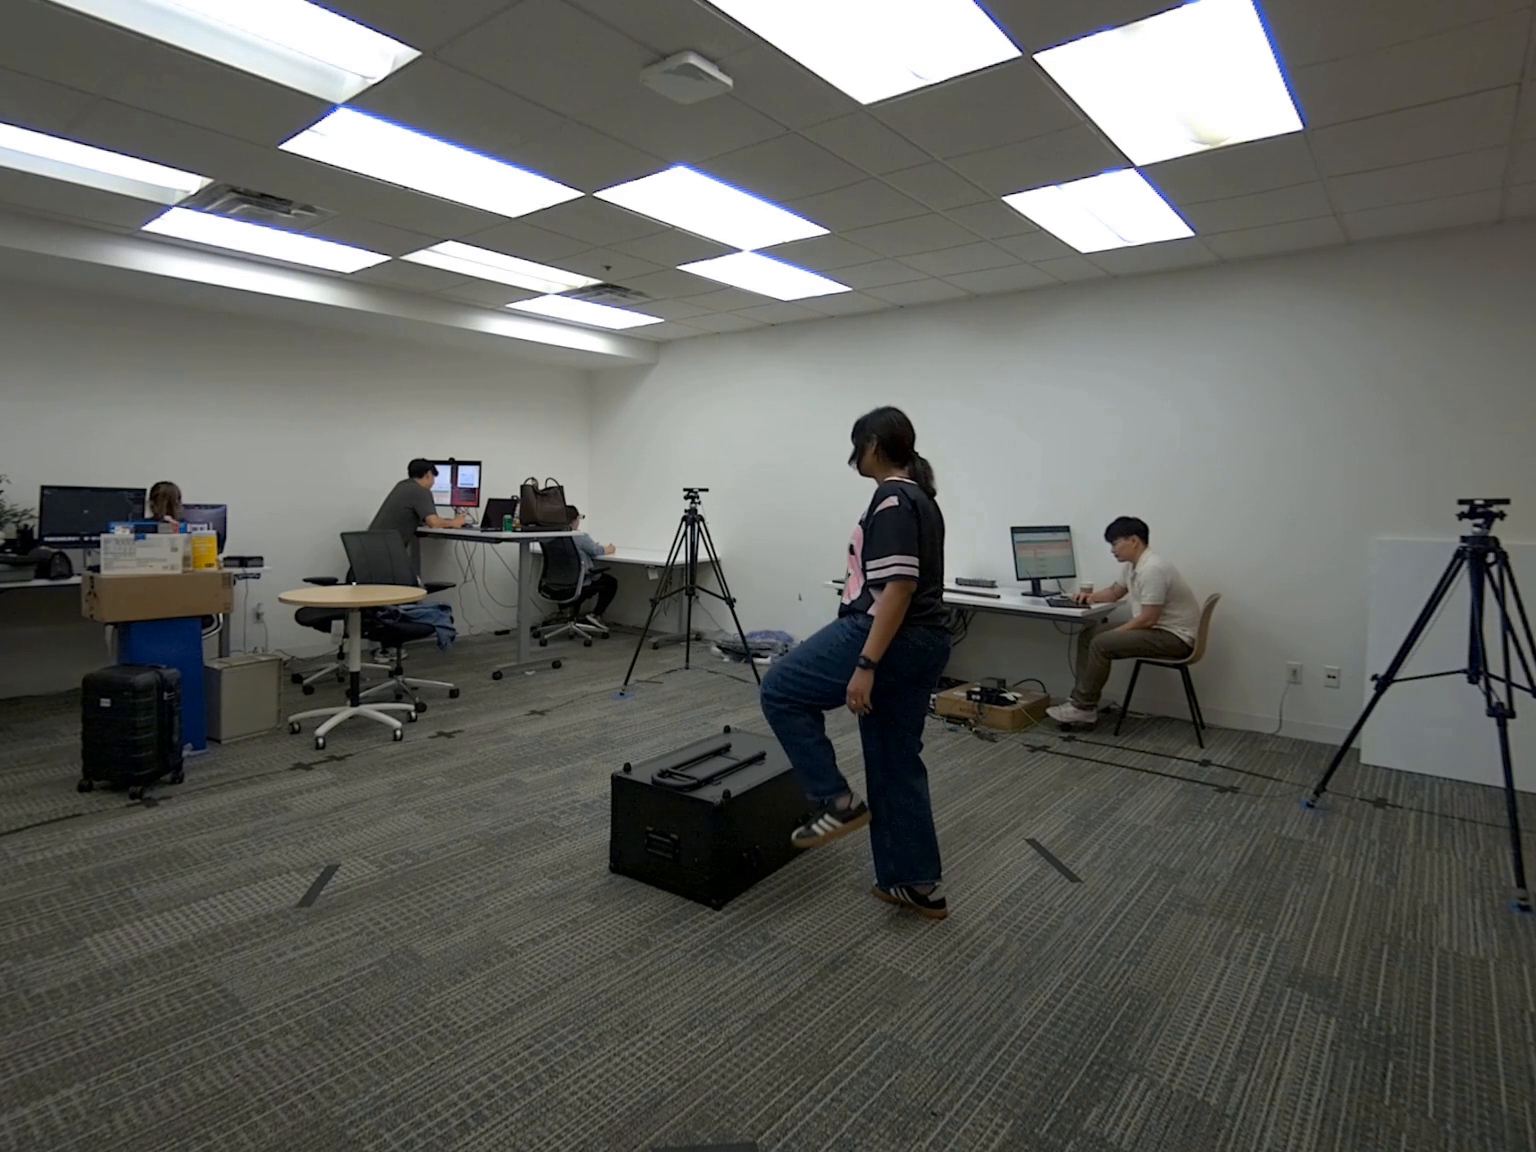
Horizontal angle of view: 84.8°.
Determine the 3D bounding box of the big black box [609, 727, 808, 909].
[{"bbox_3d":[-0.159,0.869,3.277,0.539,0.384,0.845,2,5,33],"label":"big black box"}]
